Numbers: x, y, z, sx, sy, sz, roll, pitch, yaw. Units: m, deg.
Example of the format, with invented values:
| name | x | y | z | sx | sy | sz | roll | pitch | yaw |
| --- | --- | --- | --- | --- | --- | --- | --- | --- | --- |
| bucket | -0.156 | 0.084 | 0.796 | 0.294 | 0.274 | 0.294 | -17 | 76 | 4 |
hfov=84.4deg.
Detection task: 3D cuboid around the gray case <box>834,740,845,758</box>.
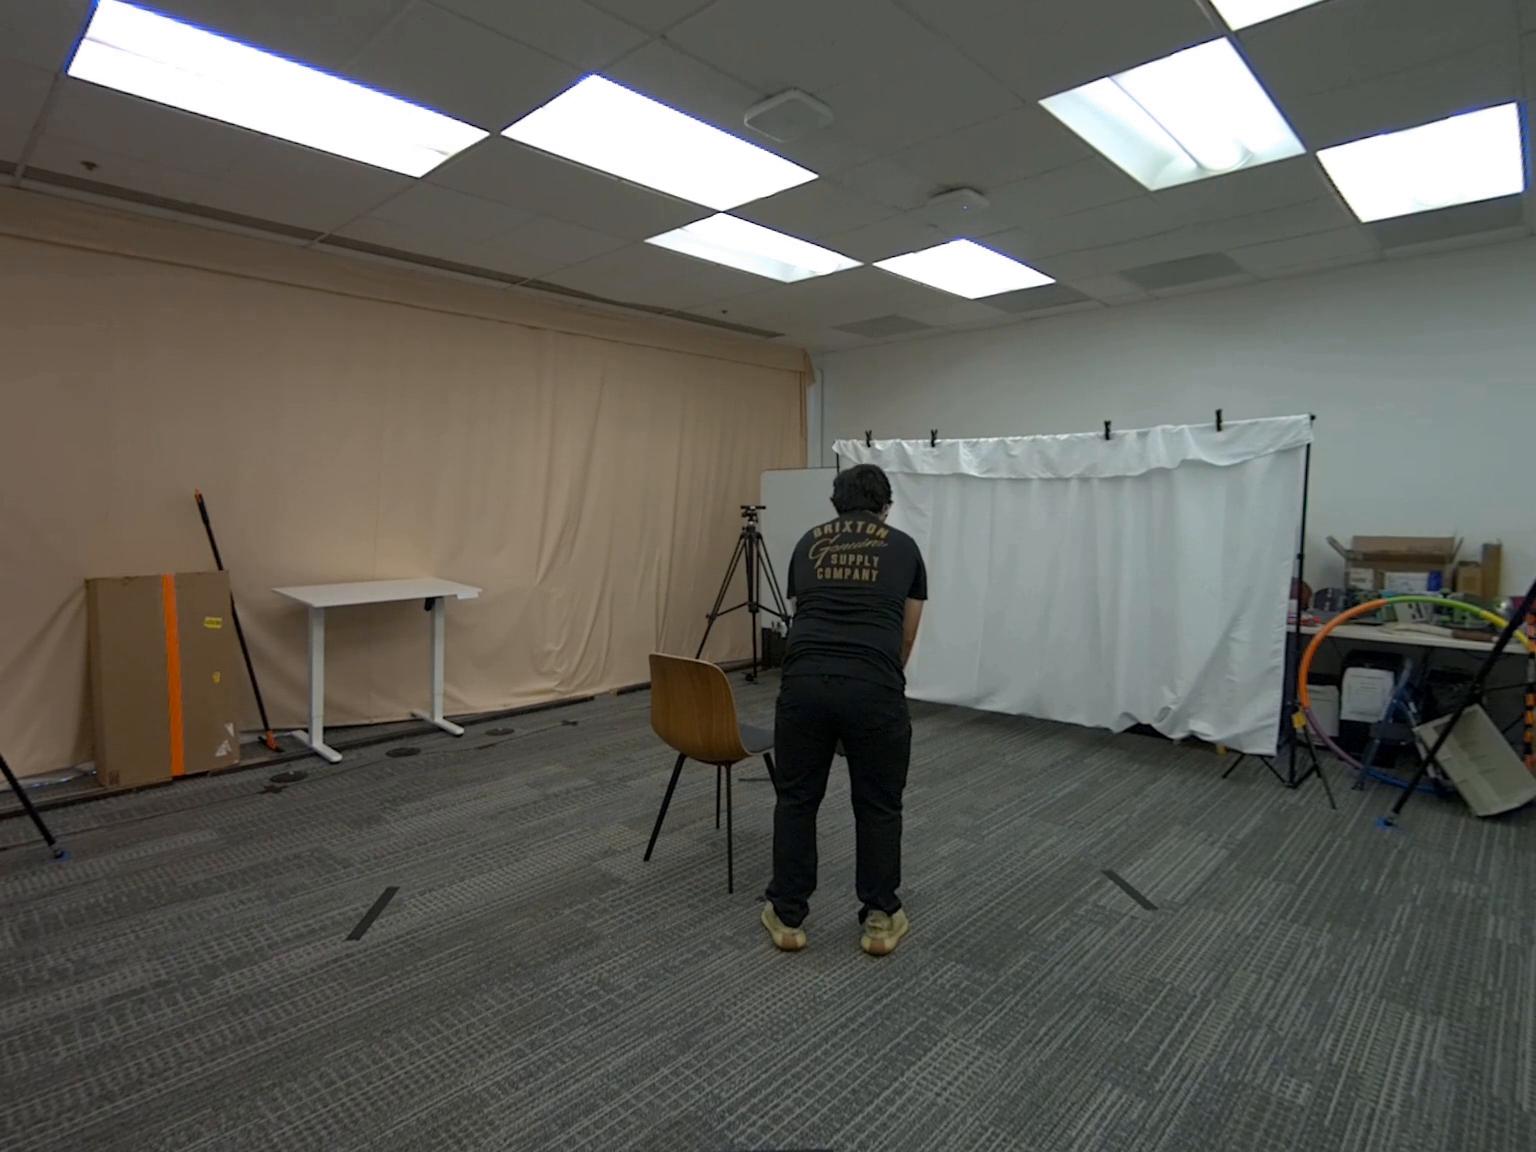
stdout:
| name | x | y | z | sx | sy | sz | roll | pitch | yaw |
| --- | --- | --- | --- | --- | --- | --- | --- | --- | --- |
| gray case | 0.323 | 0.496 | 3.012 | 0.106 | 0.260 | 0.252 | 10 | 5 | 15 |
